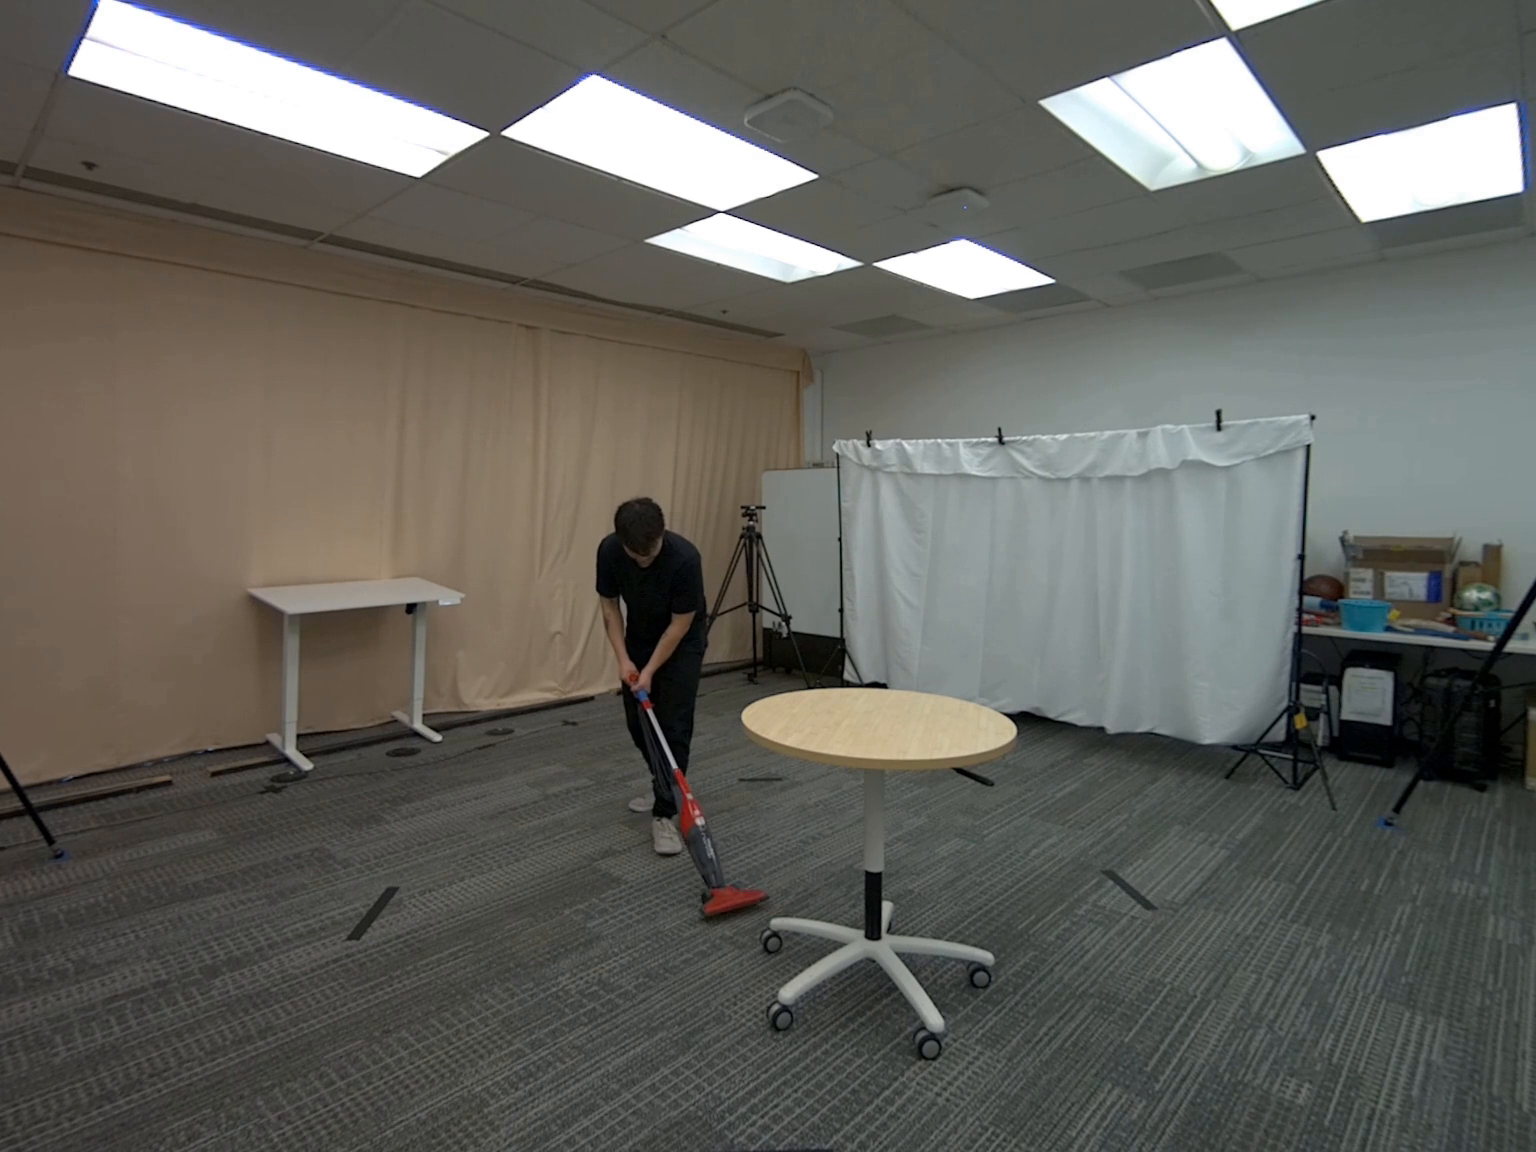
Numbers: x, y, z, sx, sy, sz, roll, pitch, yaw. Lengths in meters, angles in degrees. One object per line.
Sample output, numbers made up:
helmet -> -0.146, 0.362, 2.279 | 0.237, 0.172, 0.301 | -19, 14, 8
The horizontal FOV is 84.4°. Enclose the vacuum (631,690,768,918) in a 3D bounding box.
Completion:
vacuum -> -0.361, 0.787, 3.234 | 0.245, 0.143, 1.084 | -3, 41, -32
